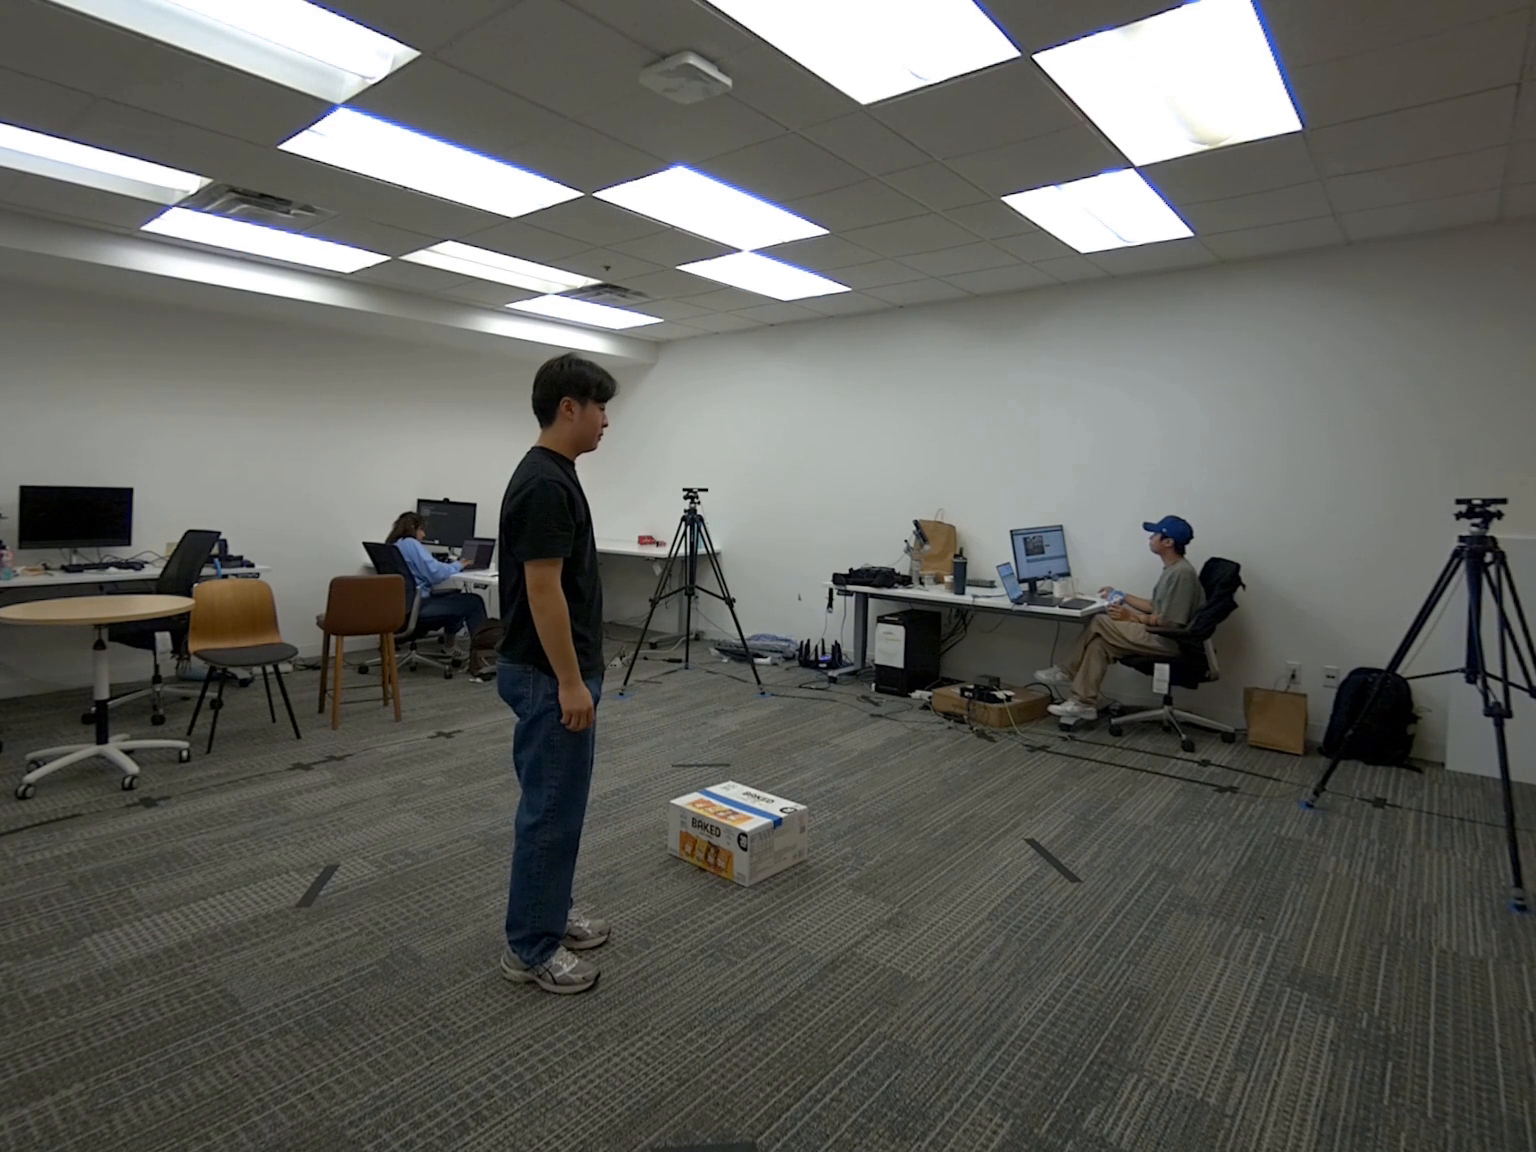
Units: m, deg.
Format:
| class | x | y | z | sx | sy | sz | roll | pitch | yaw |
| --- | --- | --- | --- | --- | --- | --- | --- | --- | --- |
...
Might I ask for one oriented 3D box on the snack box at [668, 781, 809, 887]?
| class | x | y | z | sx | sy | sz | roll | pitch | yaw |
| --- | --- | --- | --- | --- | --- | --- | --- | --- | --- |
| snack box | -0.124 | 0.960 | 3.213 | 0.419 | 0.205 | 0.330 | 6 | 7 | 42 |
